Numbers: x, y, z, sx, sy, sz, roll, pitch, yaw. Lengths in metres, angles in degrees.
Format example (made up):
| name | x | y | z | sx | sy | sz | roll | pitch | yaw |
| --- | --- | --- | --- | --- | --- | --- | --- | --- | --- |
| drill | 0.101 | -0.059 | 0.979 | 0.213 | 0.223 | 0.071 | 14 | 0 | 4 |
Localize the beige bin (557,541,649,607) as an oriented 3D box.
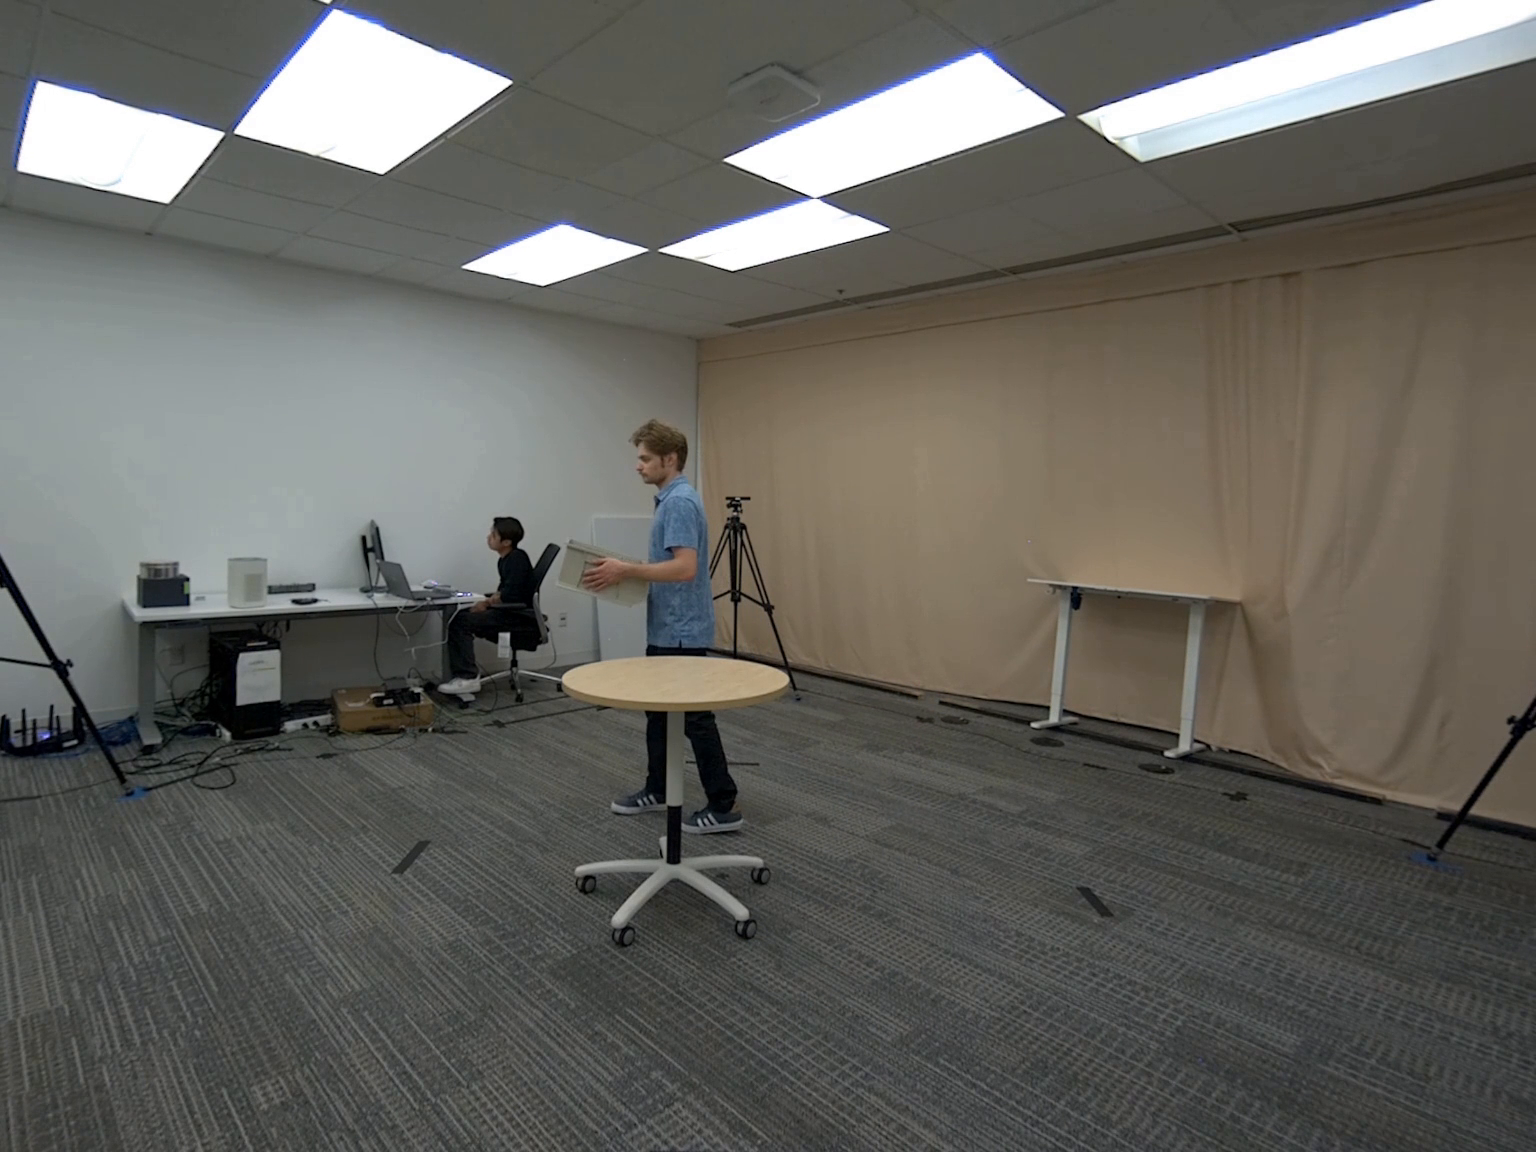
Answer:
| name | x | y | z | sx | sy | sz | roll | pitch | yaw |
| --- | --- | --- | --- | --- | --- | --- | --- | --- | --- |
| beige bin | -0.703 | -0.005 | 3.606 | 0.373 | 0.189 | 0.427 | 16 | 2 | -12 |
